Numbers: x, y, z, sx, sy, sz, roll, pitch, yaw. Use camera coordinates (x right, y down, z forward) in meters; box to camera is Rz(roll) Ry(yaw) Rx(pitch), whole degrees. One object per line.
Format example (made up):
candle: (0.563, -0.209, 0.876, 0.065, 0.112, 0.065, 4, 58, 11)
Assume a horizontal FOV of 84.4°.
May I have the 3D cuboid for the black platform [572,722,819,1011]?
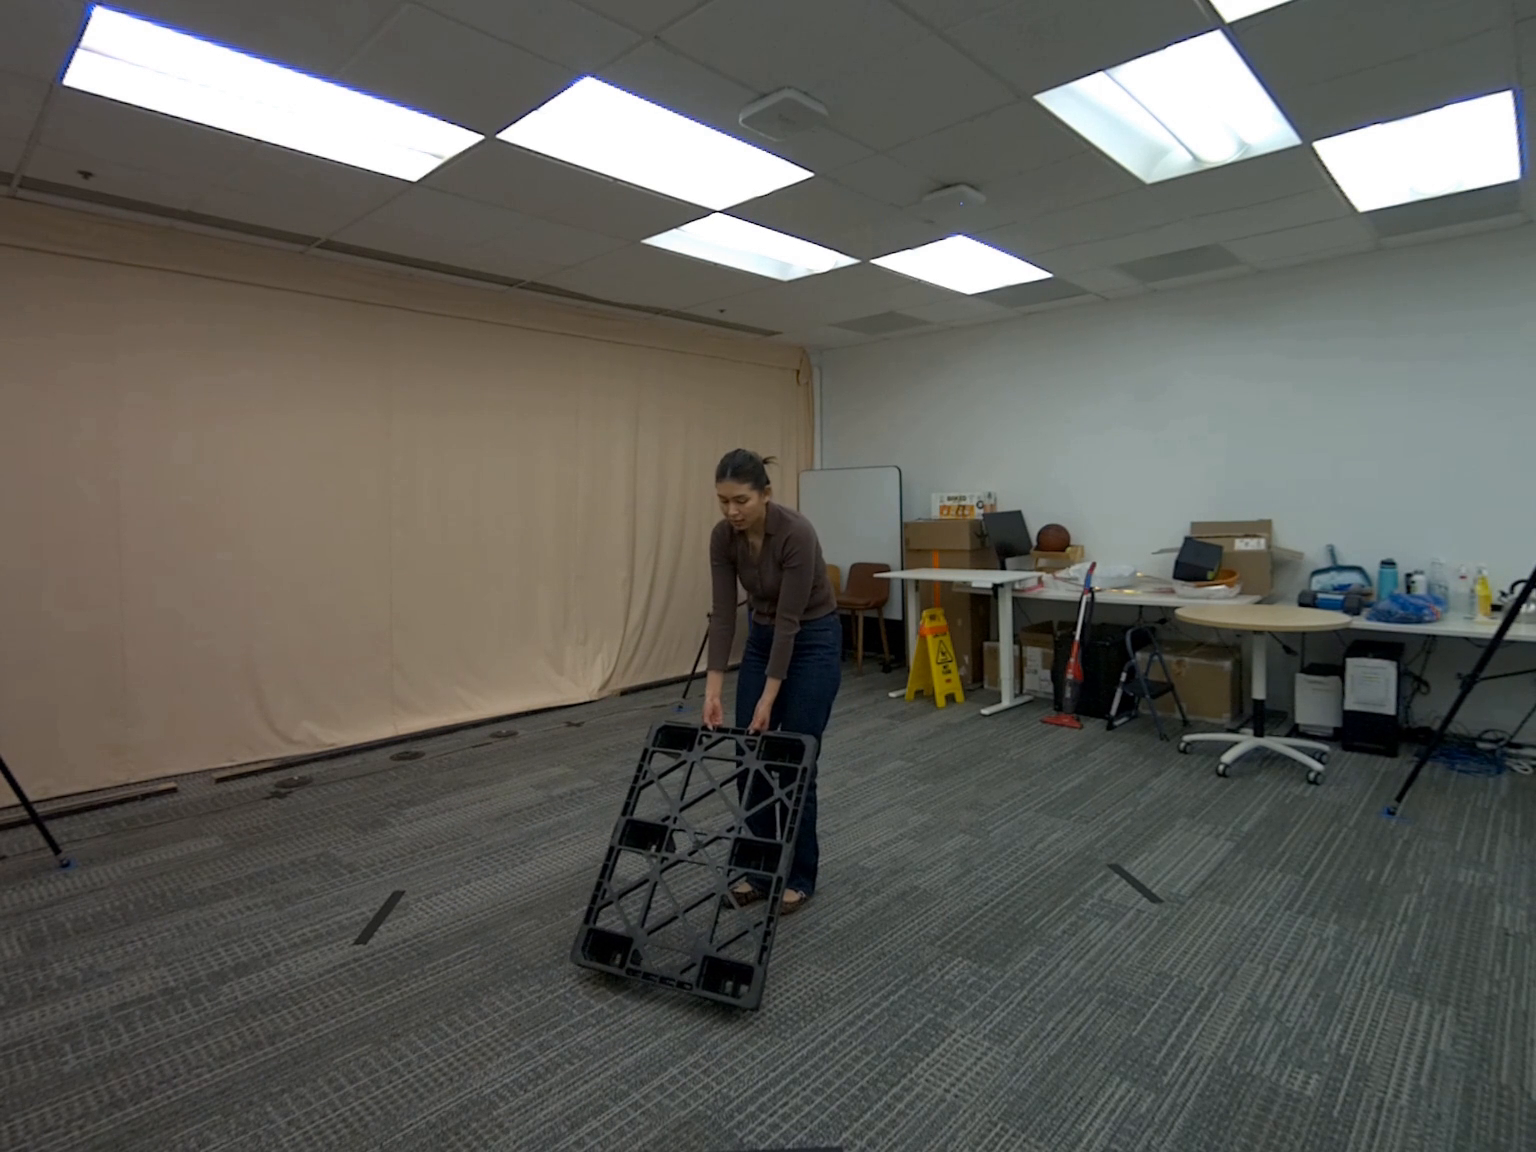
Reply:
black platform: (-0.193, 0.856, 2.611, 0.620, 0.811, 0.139, 0, -36, 23)
